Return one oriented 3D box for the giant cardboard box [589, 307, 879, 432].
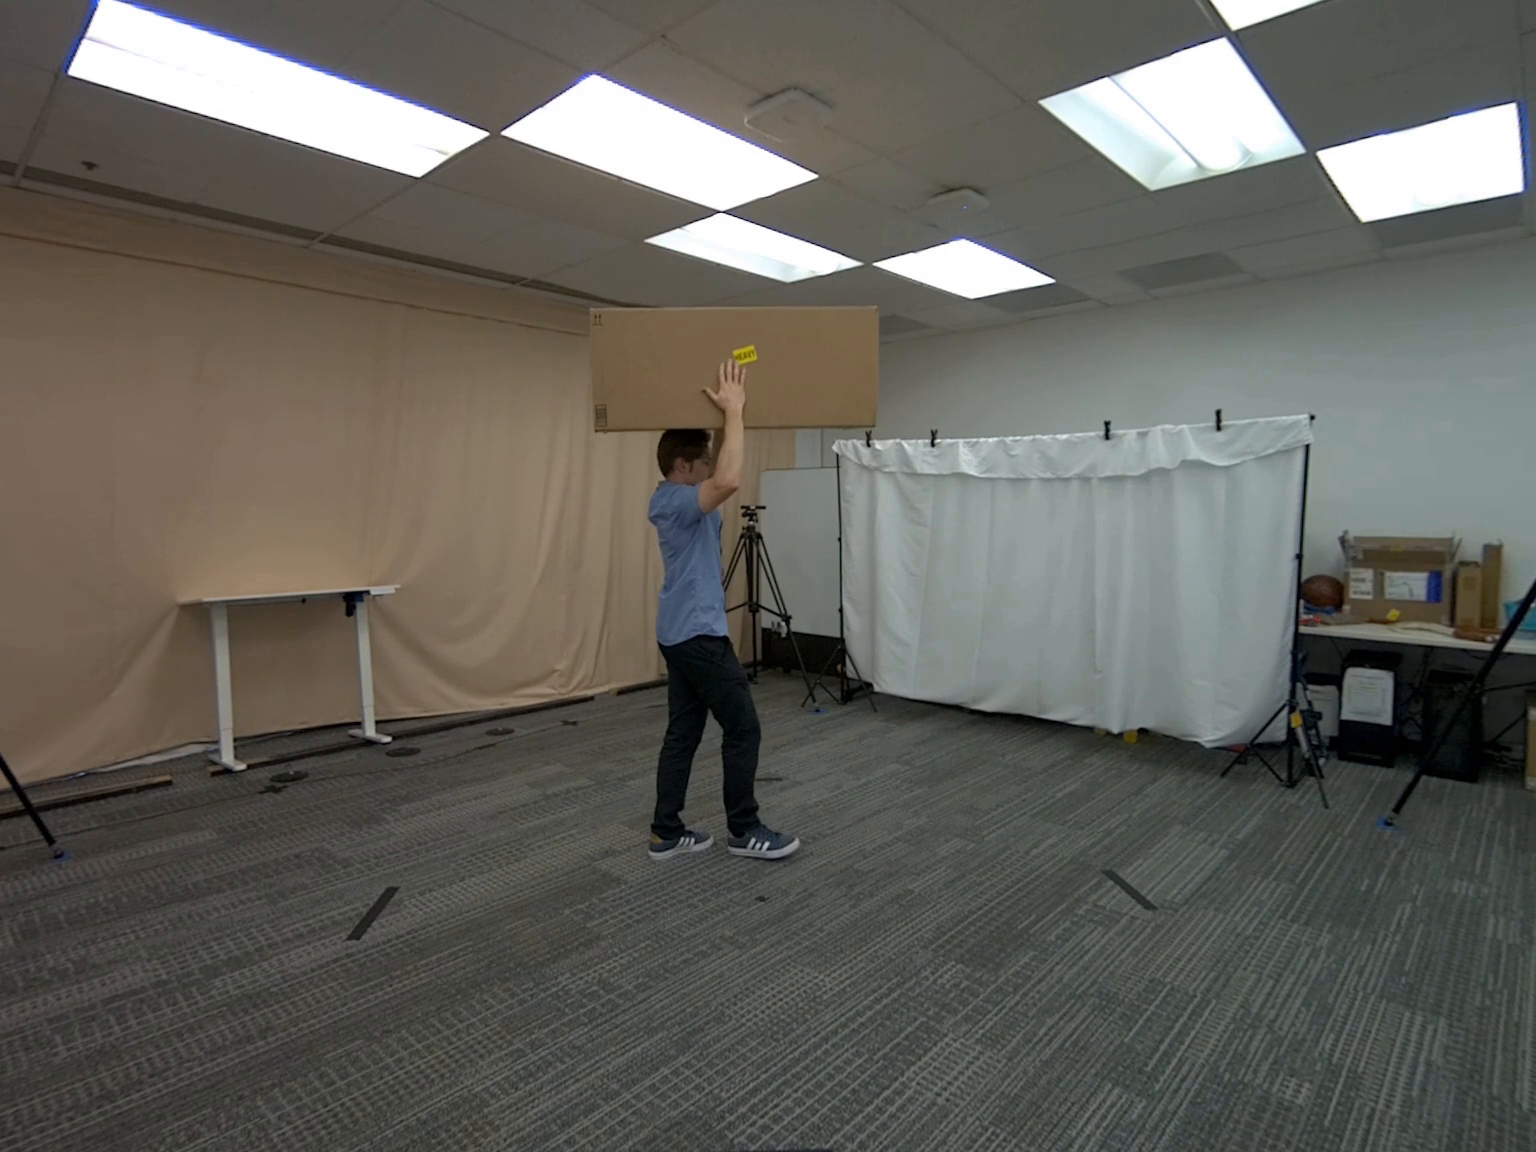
[{"bbox_3d":[-0.144,-0.780,3.257,1.023,0.424,0.583,-2,9,-3],"label":"giant cardboard box"}]
